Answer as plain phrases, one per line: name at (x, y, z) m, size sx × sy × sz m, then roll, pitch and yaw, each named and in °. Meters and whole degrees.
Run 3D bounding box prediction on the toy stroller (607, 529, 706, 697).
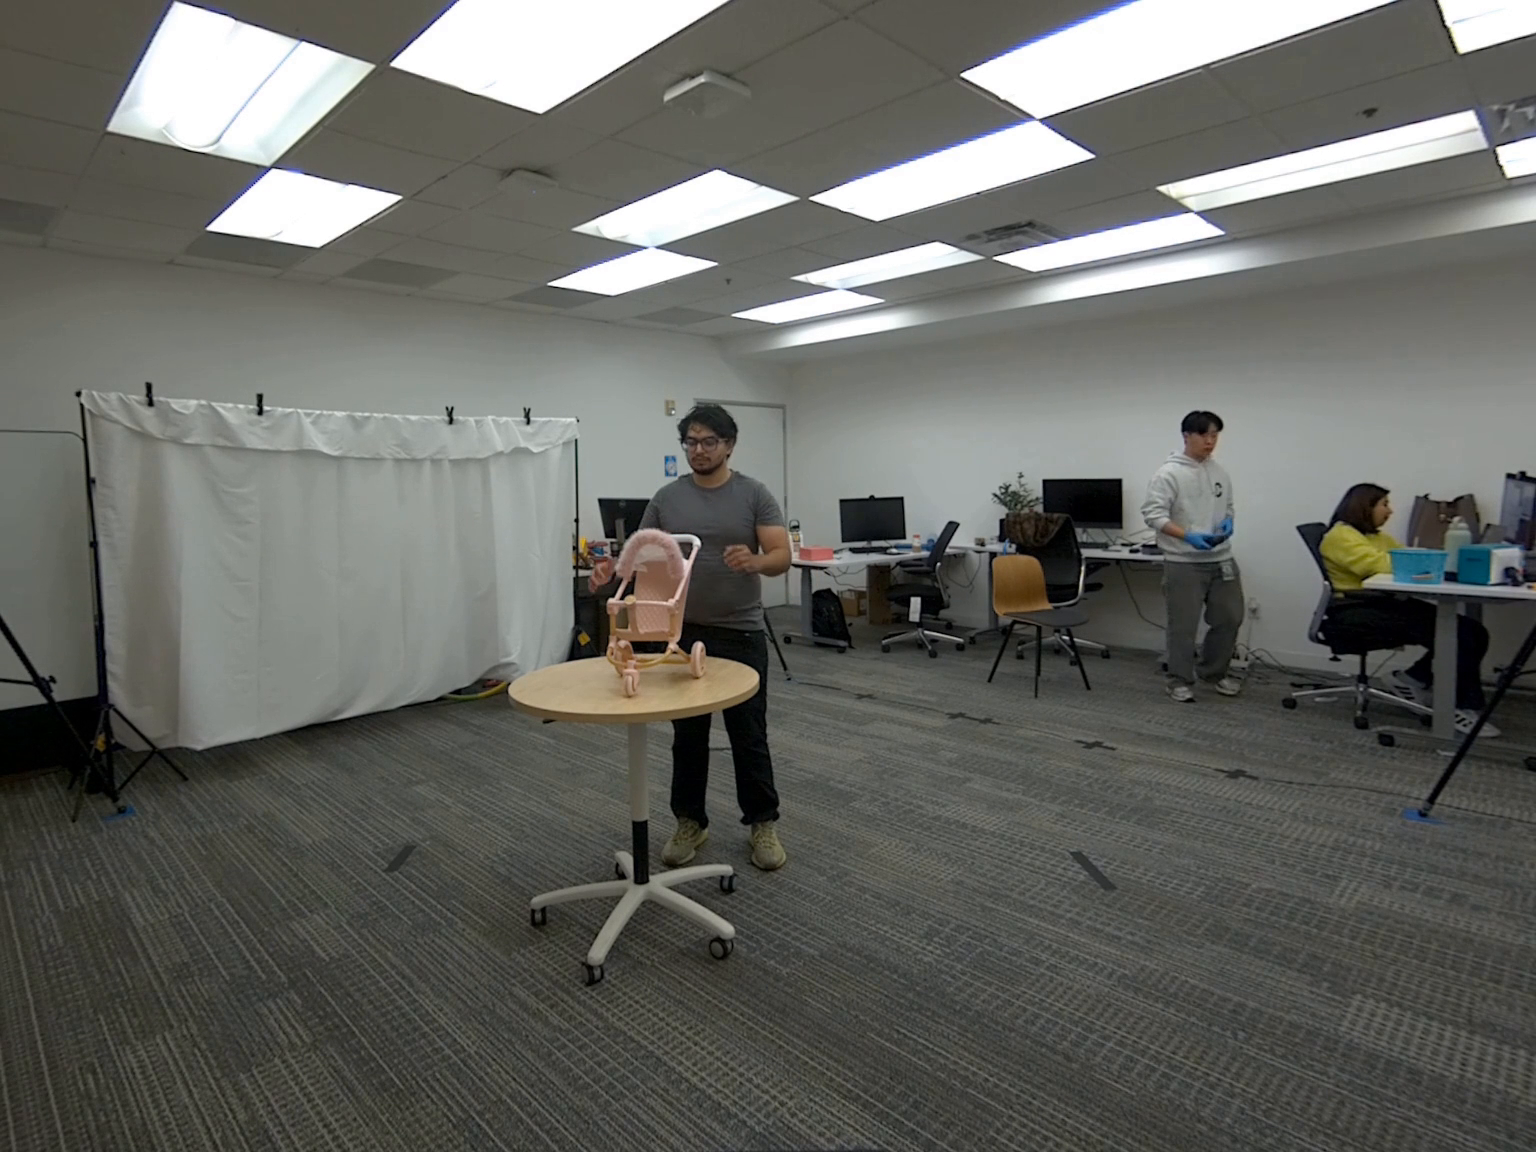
toy stroller at (-0.360, 0.103, 2.601) m, size 0.286 × 0.540 × 0.332 m, roll -1°, pitch -11°, yaw 17°
